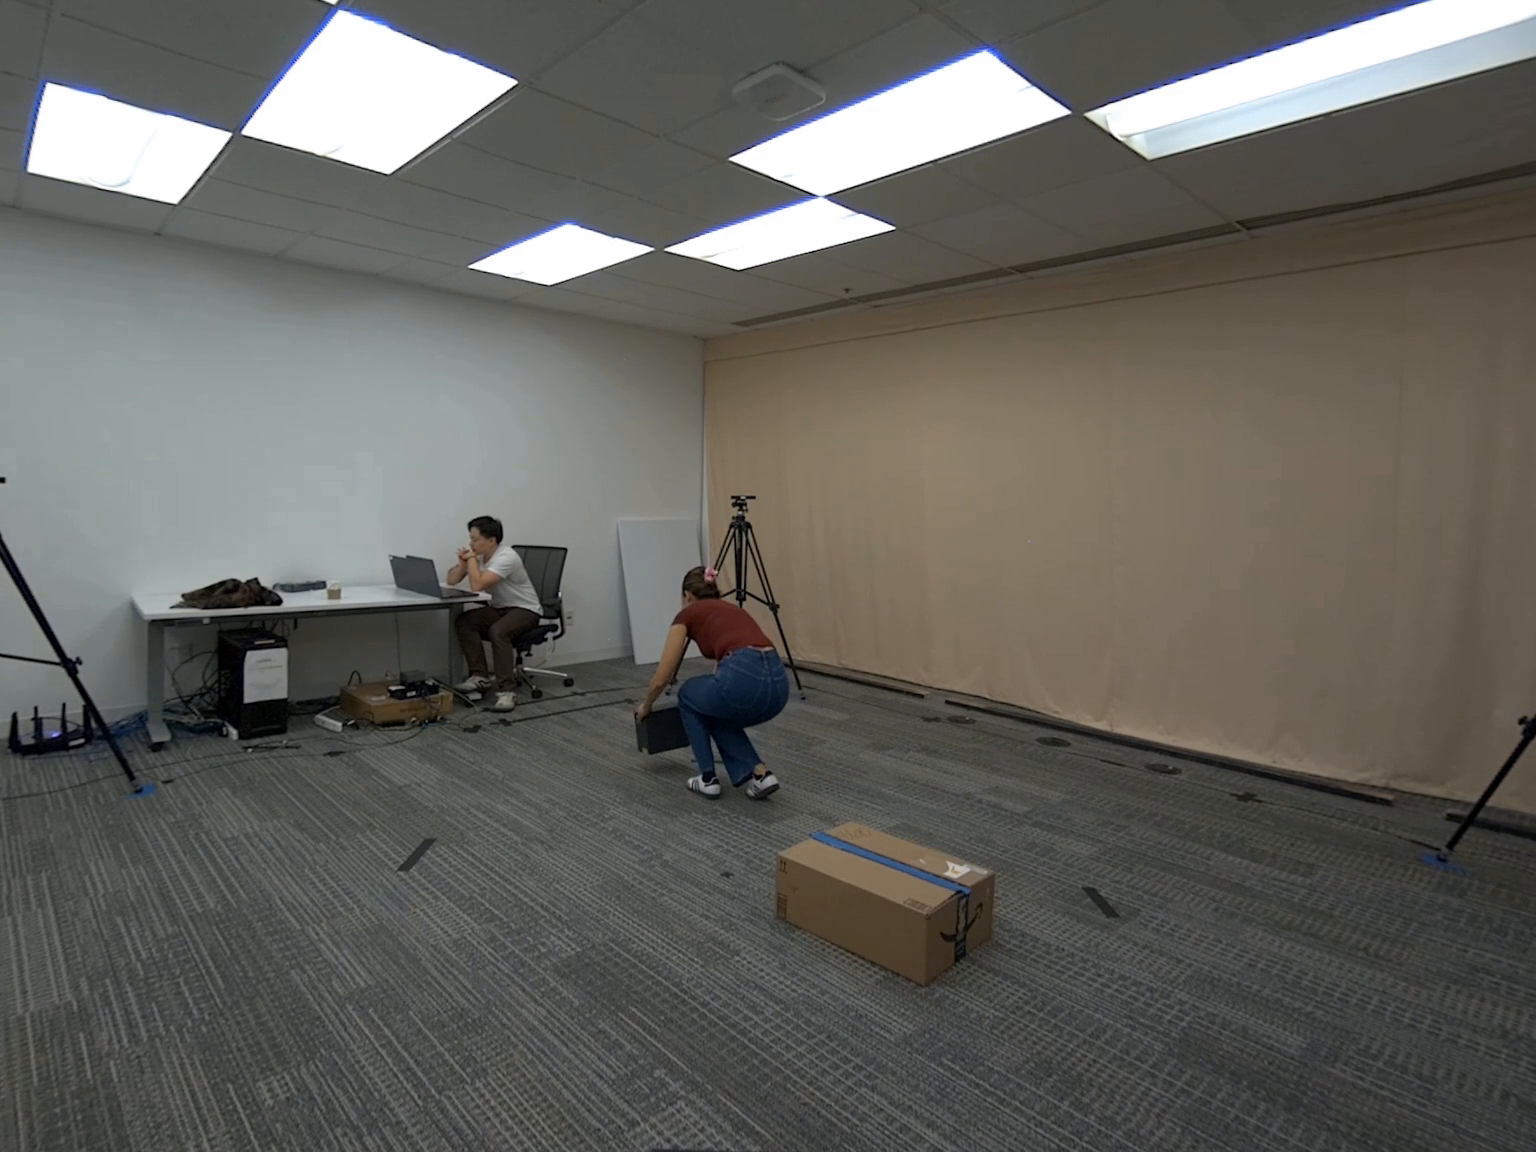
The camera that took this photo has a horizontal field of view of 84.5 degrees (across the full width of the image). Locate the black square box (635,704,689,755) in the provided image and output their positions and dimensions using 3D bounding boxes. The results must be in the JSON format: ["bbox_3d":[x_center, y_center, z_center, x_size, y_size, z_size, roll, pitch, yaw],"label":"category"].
[{"bbox_3d":[-0.544,0.759,4.300,0.224,0.216,0.159,-9,3,-26],"label":"black square box"}]
